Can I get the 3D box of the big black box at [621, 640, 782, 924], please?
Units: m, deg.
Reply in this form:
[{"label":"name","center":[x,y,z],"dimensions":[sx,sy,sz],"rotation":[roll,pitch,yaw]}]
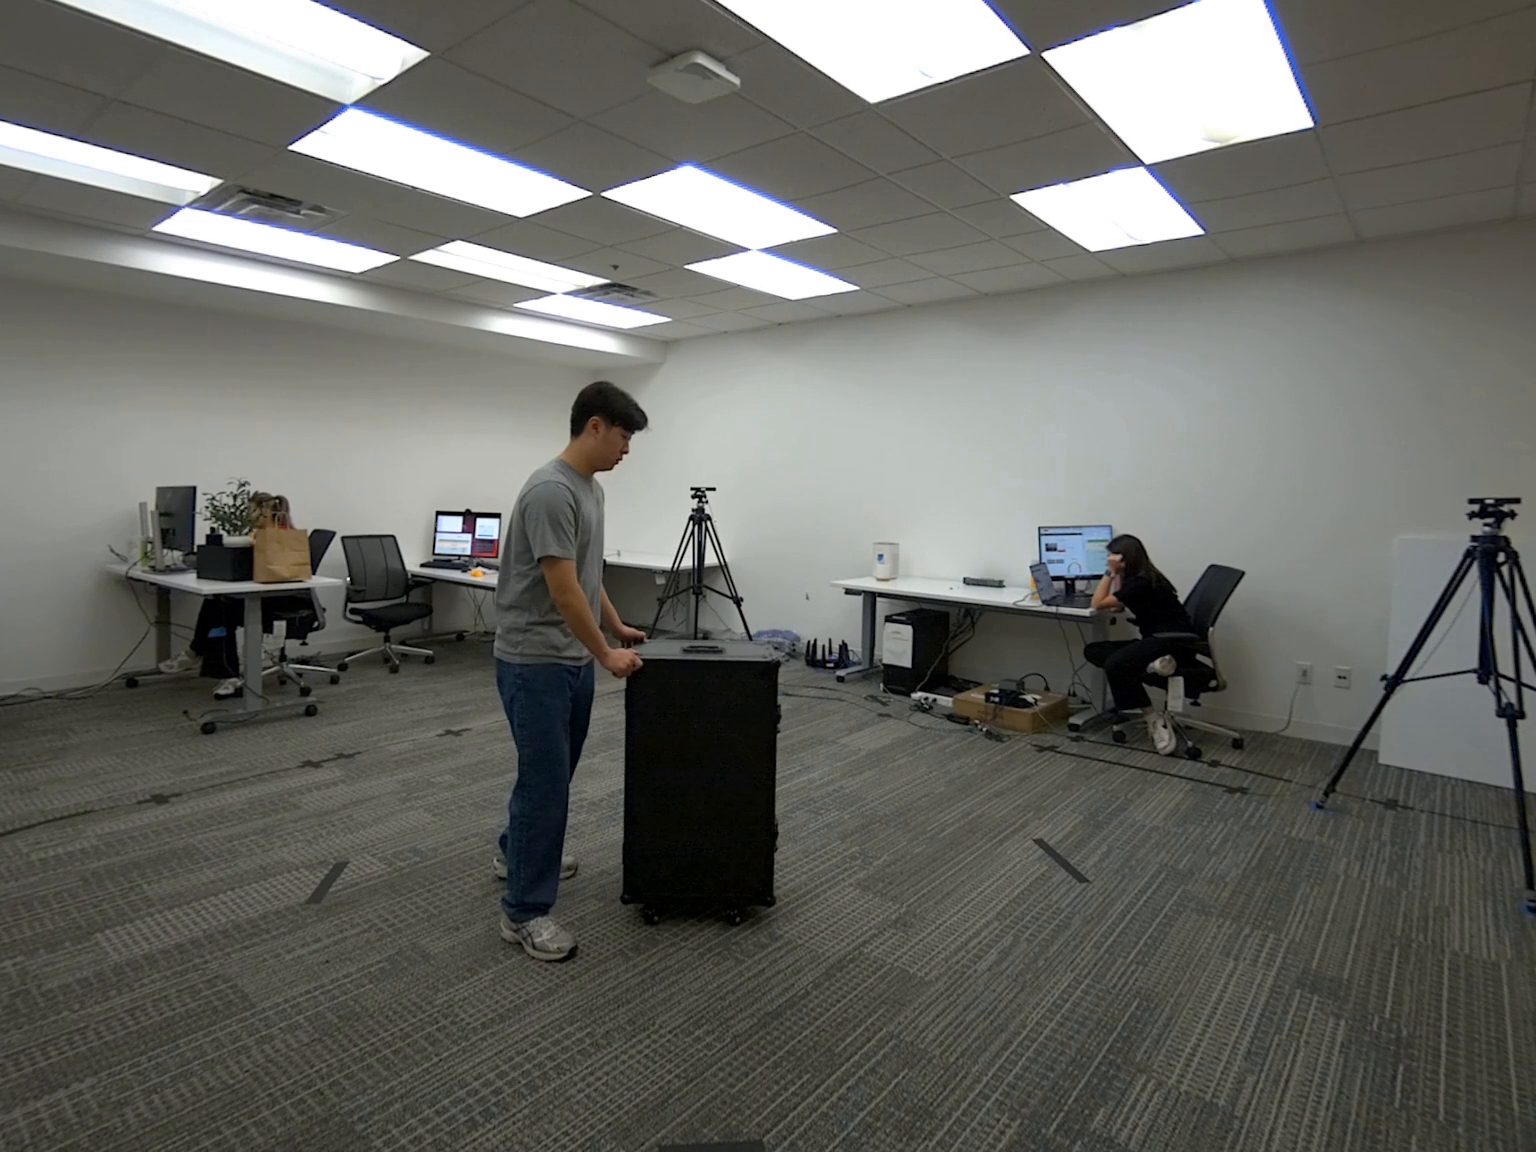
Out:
[{"label":"big black box","center":[-0.243,0.671,2.850],"dimensions":[0.522,0.860,0.397],"rotation":[1,2,0]}]
